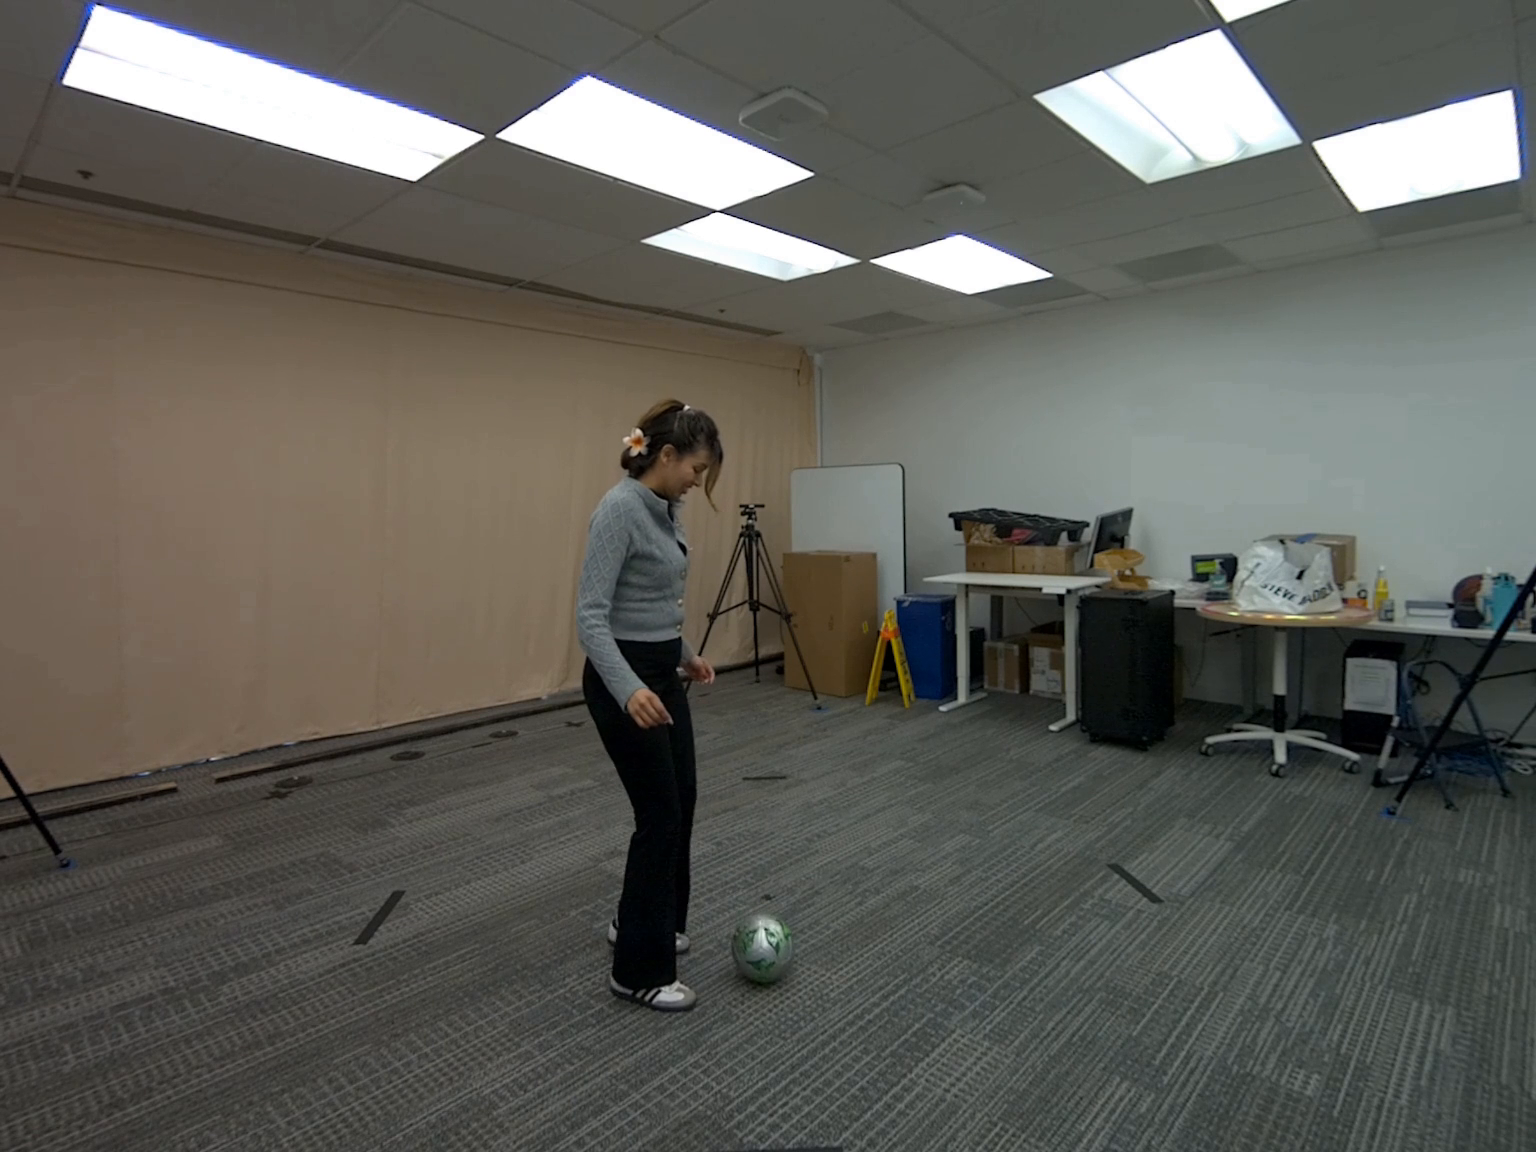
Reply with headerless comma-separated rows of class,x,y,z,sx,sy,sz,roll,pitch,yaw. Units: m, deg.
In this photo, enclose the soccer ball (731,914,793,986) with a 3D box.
soccer ball,-0.012,1.093,2.468,0.187,0.187,0.188,-1,4,-2
